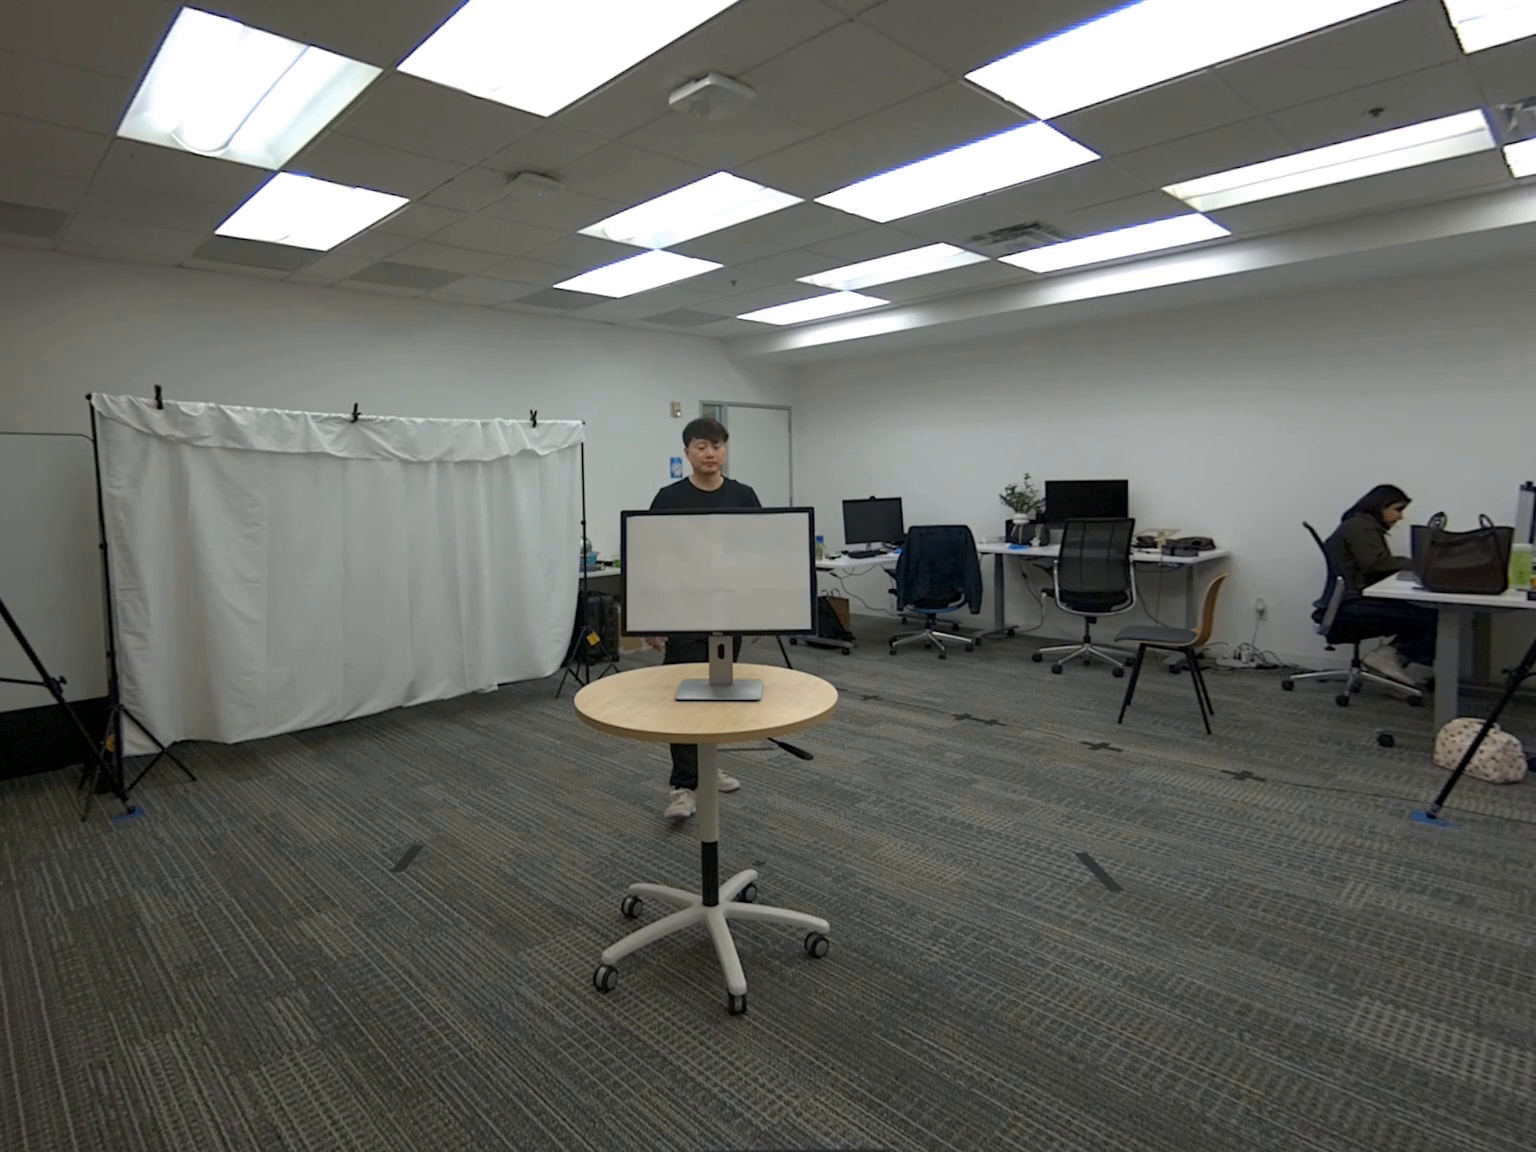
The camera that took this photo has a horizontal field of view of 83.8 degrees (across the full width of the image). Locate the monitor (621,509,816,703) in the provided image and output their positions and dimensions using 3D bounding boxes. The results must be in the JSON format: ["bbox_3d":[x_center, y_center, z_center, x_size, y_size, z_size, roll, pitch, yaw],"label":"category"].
[{"bbox_3d":[-0.148,0.081,2.489,0.540,0.520,0.187,-1,5,3],"label":"monitor"}]
